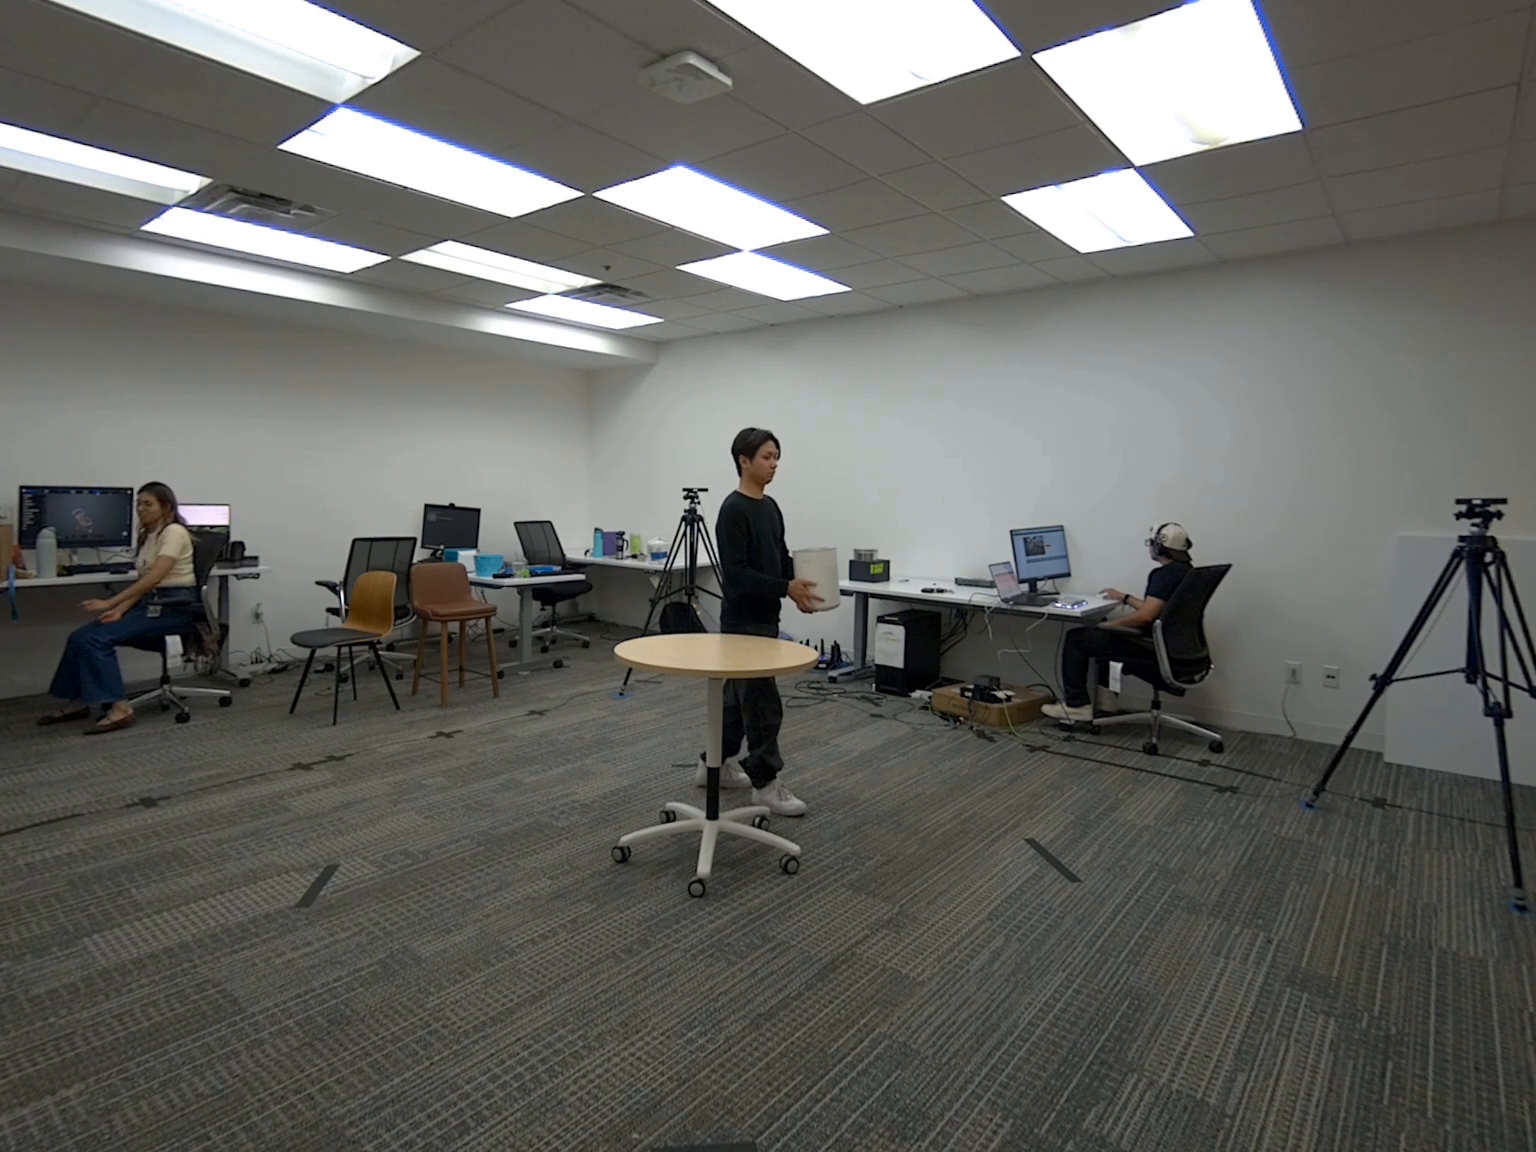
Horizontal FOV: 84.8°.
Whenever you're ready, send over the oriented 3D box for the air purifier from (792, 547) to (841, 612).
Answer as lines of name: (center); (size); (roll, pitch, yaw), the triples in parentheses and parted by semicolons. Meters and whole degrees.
air purifier: (0.204, 0.010, 3.692); (0.175, 0.264, 0.168); (-3, 4, 27)
